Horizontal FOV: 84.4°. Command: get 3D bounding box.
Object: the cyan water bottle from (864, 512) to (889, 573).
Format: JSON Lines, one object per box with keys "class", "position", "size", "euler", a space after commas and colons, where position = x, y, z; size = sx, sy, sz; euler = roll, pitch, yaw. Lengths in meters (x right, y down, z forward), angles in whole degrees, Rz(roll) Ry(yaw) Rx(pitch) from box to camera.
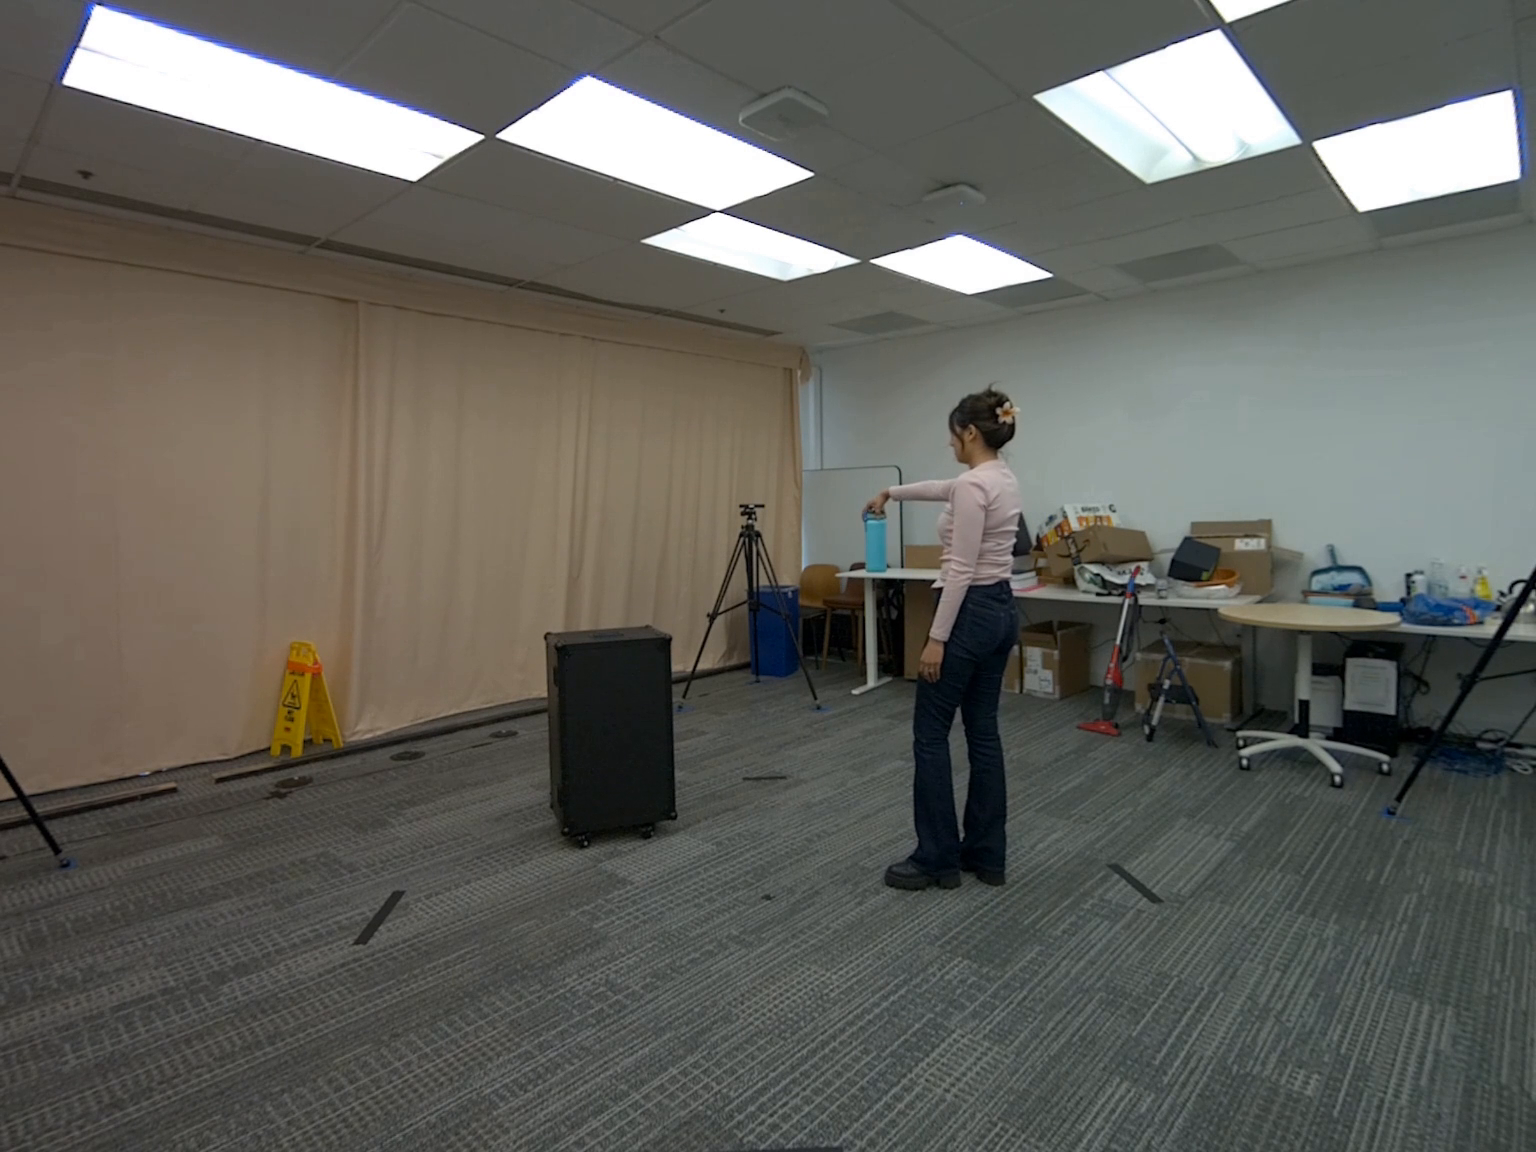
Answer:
{"class": "cyan water bottle", "position": [0.472, -0.158, 3.664], "size": [0.092, 0.283, 0.092], "euler": [-2, 3, -2]}
